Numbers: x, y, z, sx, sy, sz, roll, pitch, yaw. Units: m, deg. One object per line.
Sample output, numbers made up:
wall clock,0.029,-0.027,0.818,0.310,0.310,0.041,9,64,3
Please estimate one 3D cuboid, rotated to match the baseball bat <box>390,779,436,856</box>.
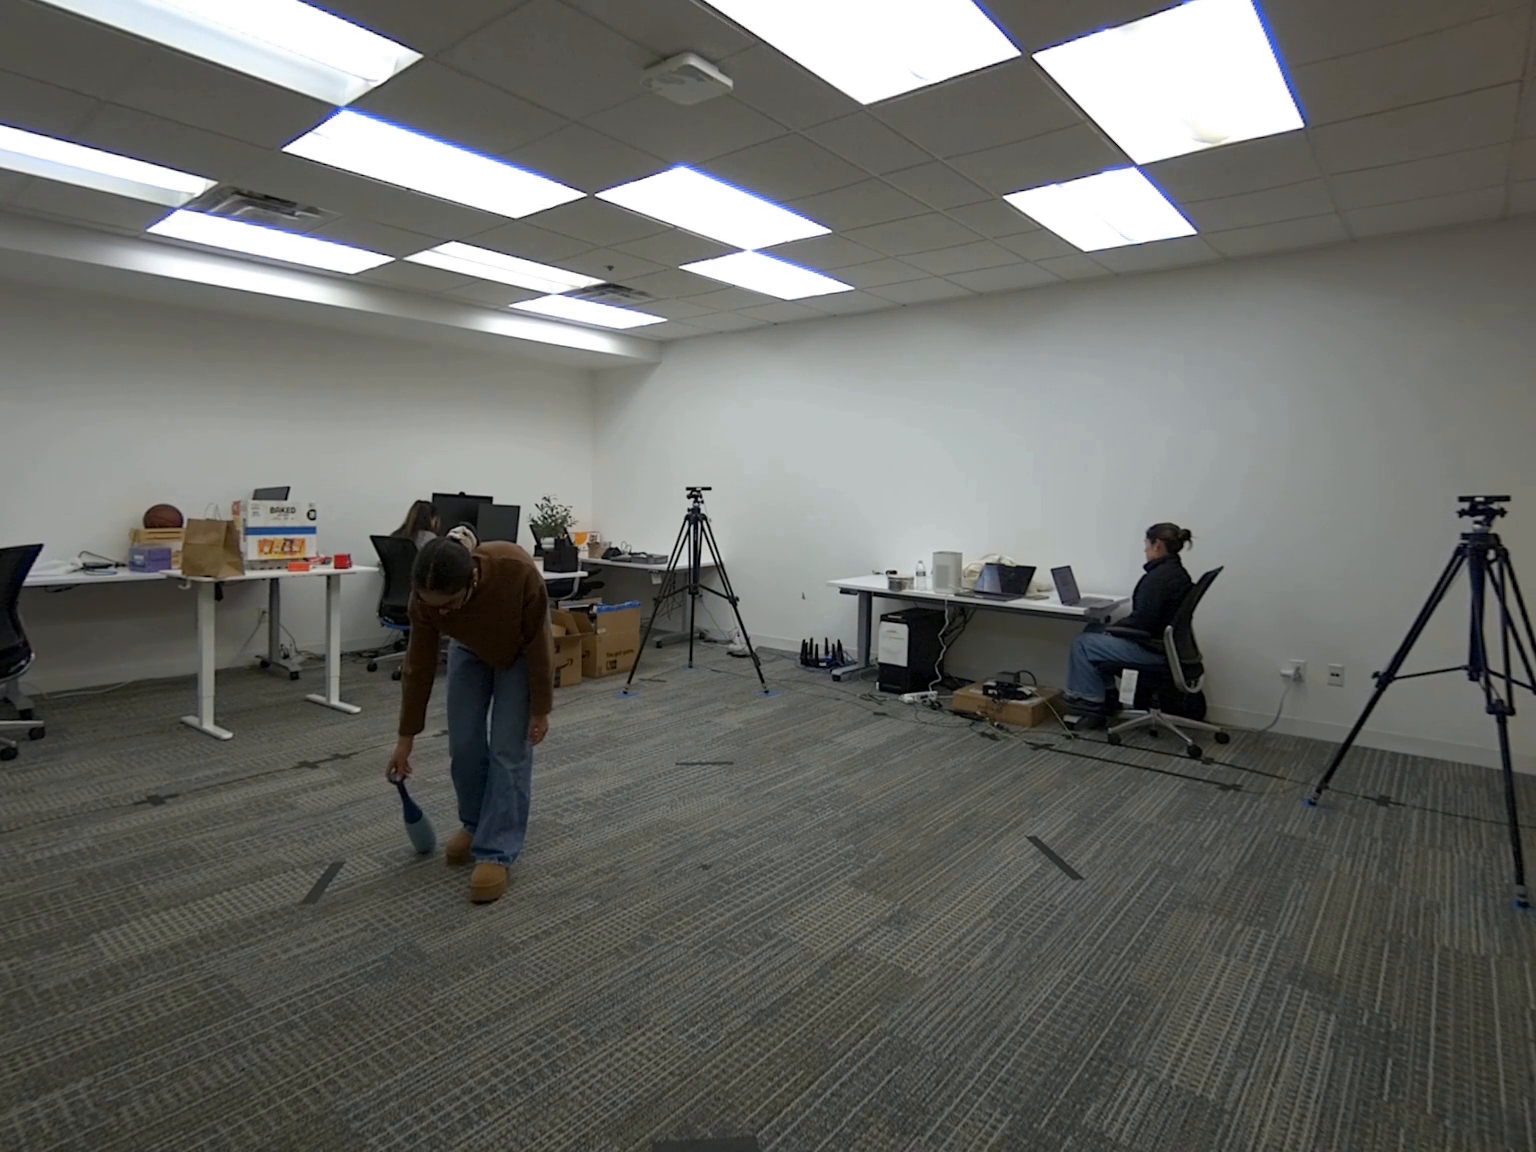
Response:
baseball bat,-1.295,0.847,3.050,0.089,0.092,0.529,3,-42,-5
